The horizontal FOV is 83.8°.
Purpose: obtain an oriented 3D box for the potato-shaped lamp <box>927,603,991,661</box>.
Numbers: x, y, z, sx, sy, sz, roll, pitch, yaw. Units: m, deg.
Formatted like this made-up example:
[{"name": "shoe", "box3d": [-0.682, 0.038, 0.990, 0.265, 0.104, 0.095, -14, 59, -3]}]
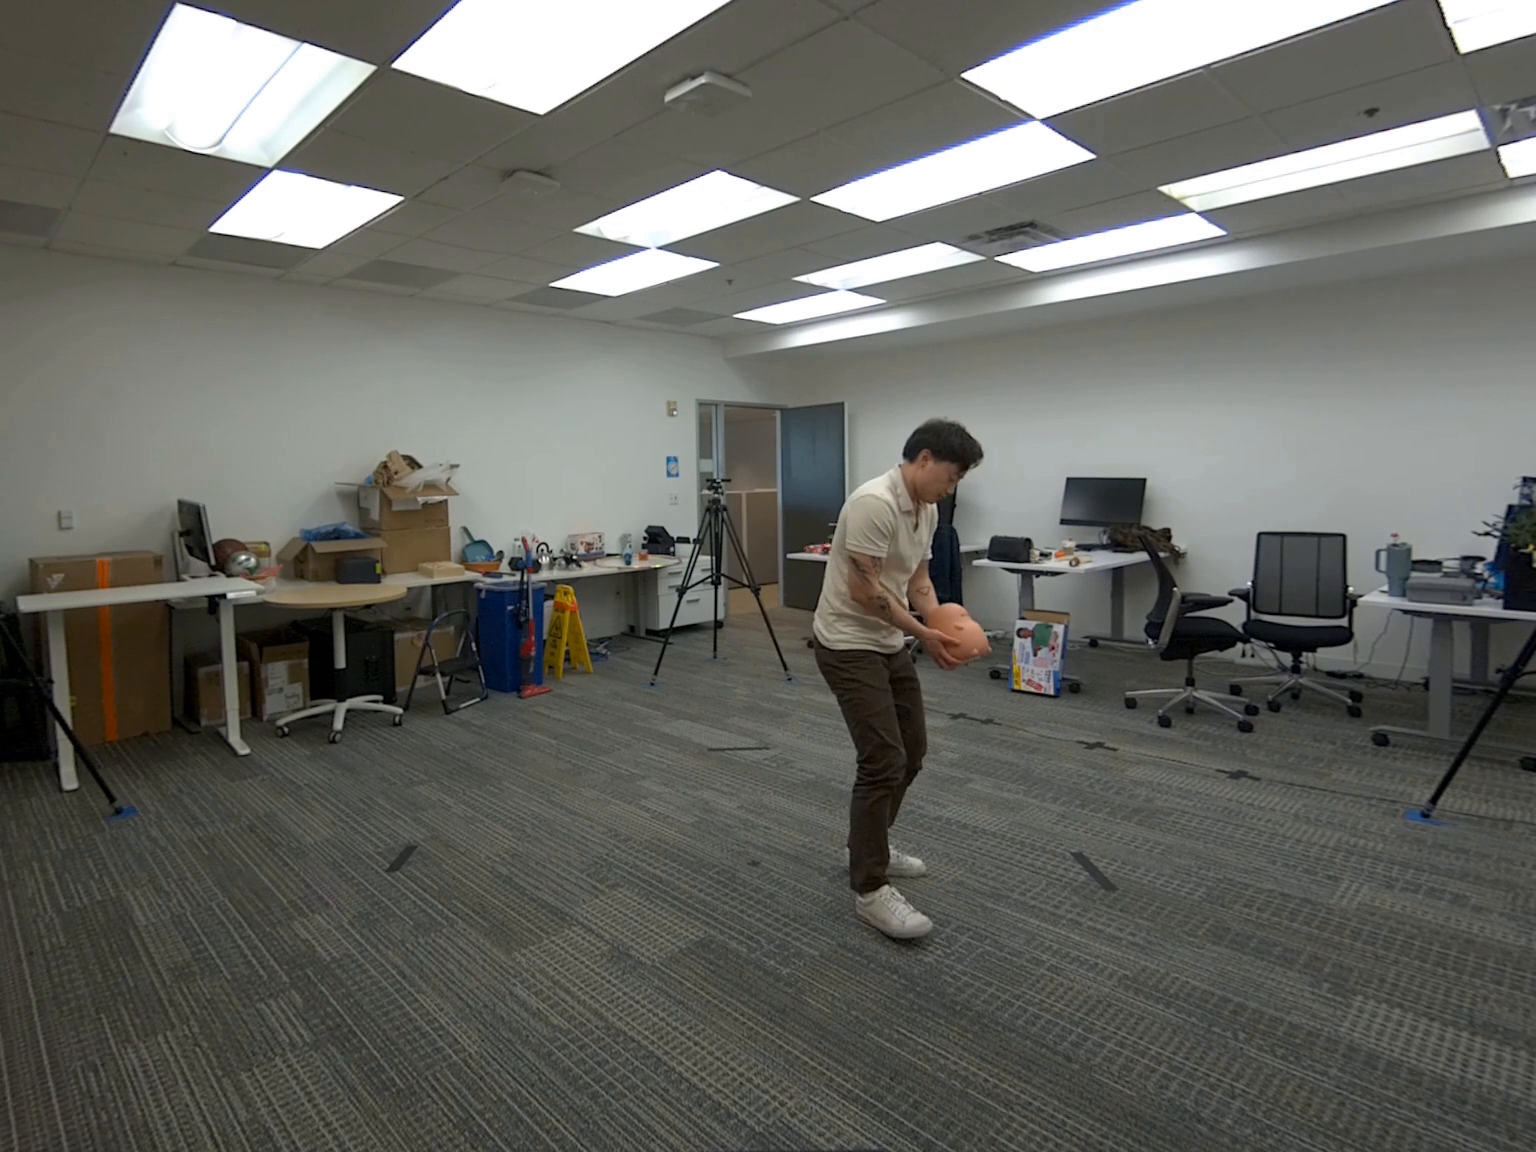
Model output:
[{"name": "potato-shaped lamp", "box3d": [0.601, 0.193, 2.763, 0.173, 0.201, 0.160, -27, -16, 37]}]
